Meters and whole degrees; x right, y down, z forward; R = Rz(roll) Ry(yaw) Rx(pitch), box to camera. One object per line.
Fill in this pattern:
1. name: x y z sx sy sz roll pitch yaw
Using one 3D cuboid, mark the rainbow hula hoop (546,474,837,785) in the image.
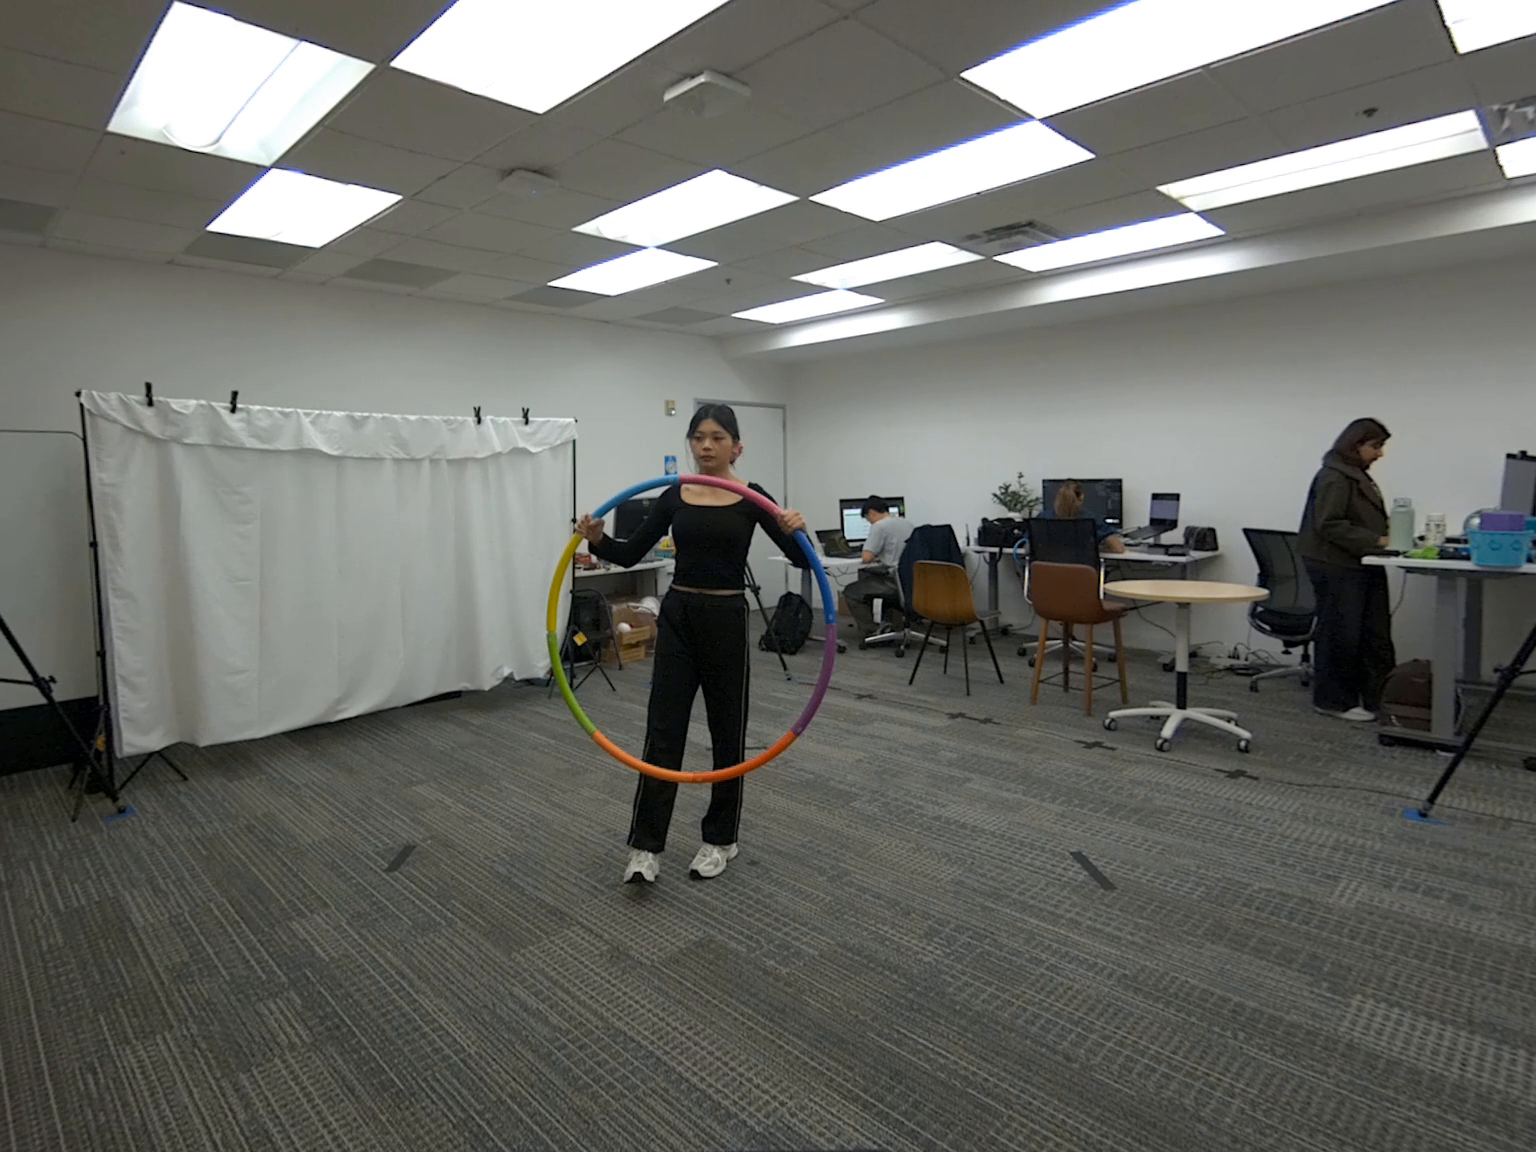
1. rainbow hula hoop: -0.260 0.170 2.769 0.992 0.978 0.035 0 0 14
